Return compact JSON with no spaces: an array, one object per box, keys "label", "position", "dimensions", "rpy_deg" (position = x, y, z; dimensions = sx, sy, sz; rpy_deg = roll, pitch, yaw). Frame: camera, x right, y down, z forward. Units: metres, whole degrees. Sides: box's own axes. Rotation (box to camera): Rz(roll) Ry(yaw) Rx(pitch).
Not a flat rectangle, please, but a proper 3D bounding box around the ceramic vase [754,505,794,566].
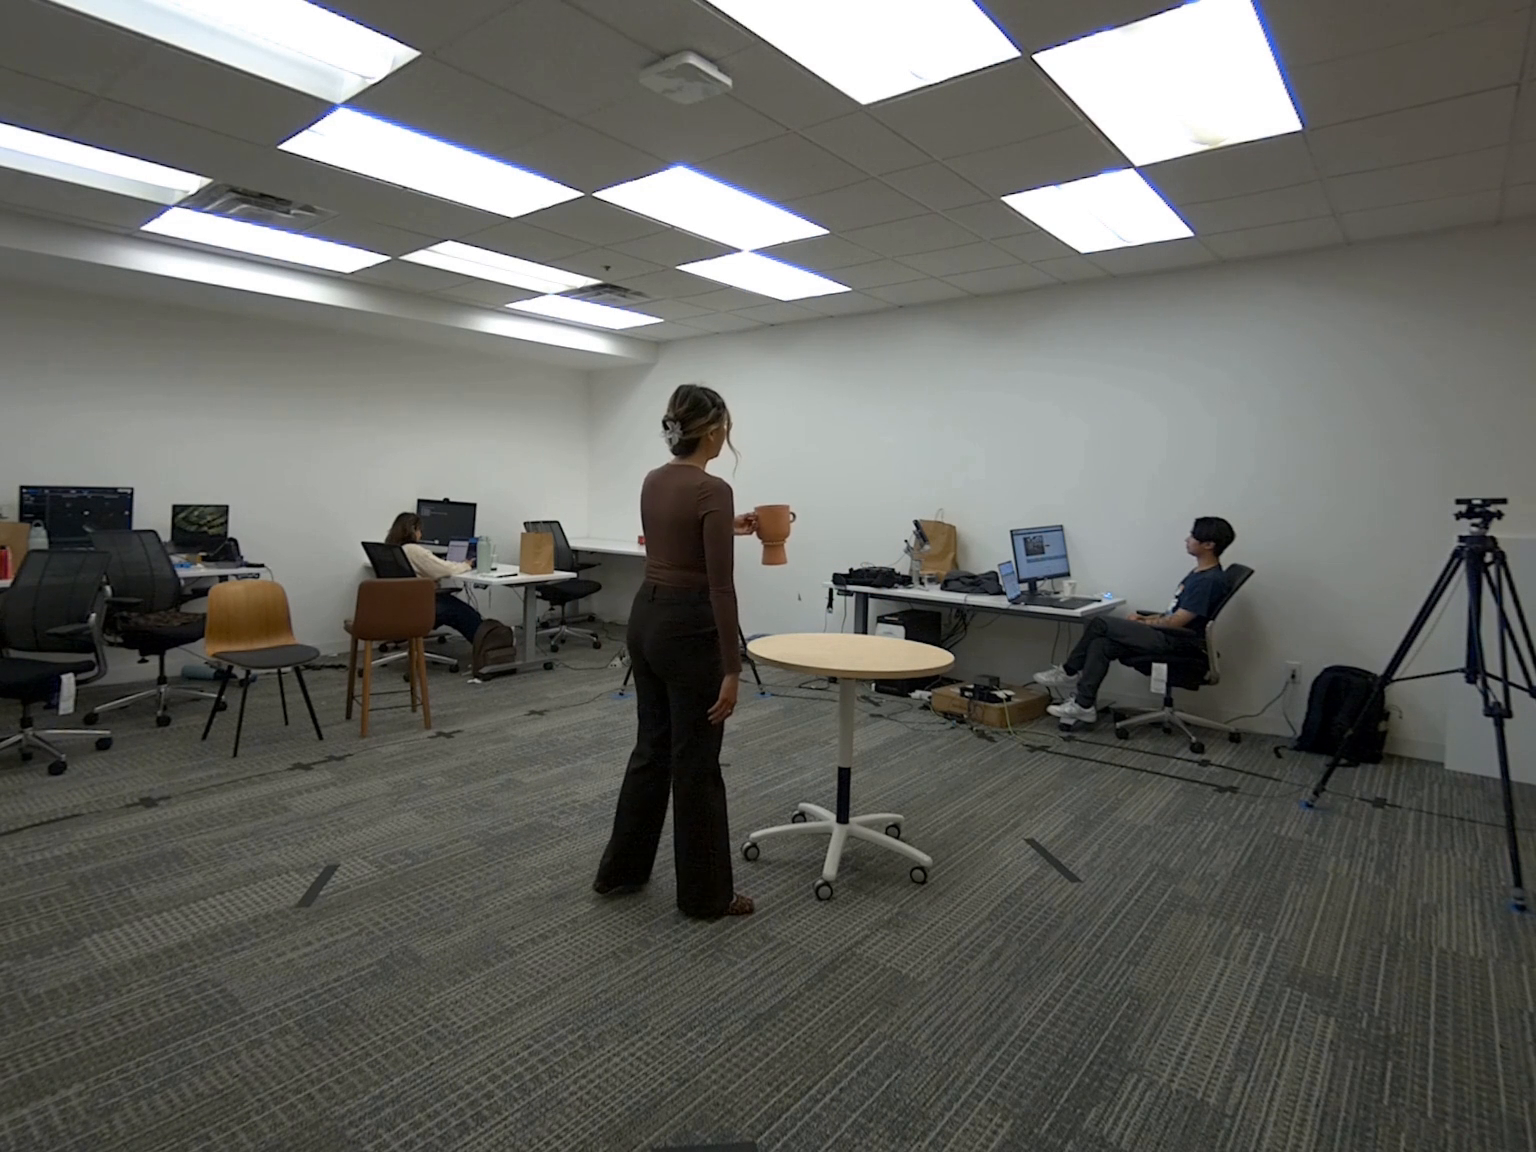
[{"label":"ceramic vase","position":[0.004,-0.164,3.211],"dimensions":[0.162,0.219,0.133],"rpy_deg":[1,6,17]}]
